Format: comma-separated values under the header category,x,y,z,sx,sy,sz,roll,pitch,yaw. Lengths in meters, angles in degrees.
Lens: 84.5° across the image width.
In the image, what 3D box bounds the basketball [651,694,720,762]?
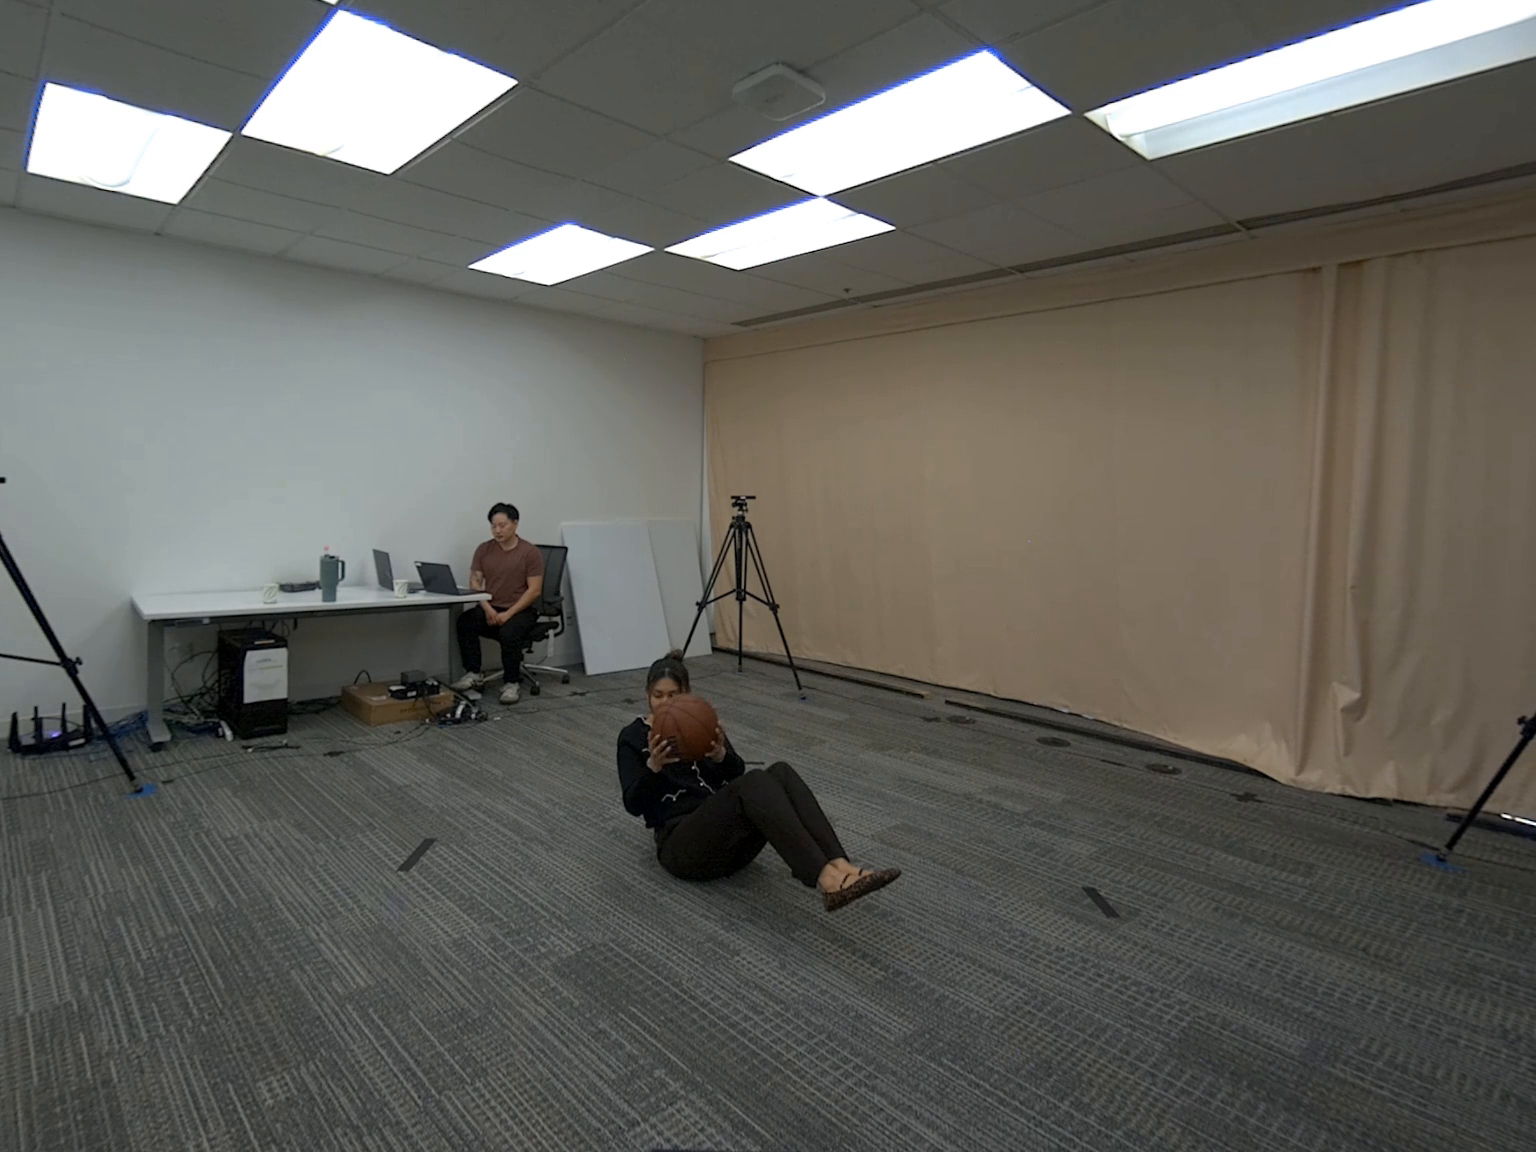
category,x,y,z,sx,sy,sz,roll,pitch,yaw
basketball,-0.293,0.541,2.948,0.236,0.235,0.237,1,4,-1
